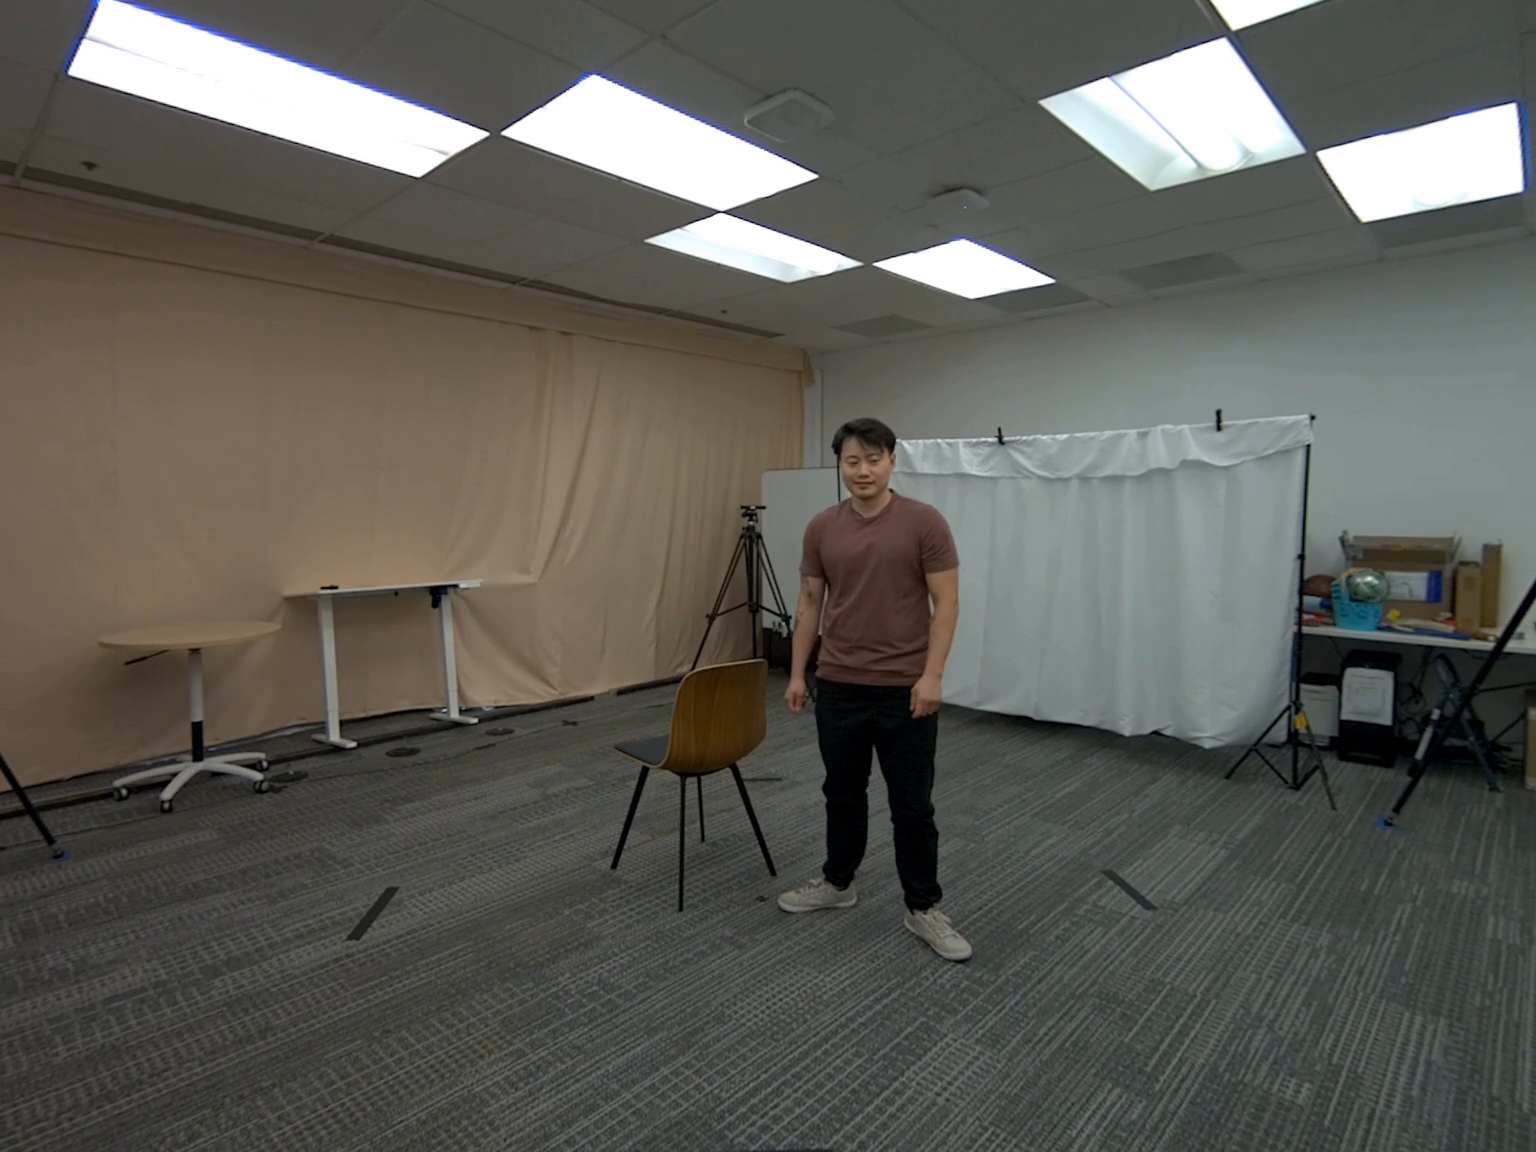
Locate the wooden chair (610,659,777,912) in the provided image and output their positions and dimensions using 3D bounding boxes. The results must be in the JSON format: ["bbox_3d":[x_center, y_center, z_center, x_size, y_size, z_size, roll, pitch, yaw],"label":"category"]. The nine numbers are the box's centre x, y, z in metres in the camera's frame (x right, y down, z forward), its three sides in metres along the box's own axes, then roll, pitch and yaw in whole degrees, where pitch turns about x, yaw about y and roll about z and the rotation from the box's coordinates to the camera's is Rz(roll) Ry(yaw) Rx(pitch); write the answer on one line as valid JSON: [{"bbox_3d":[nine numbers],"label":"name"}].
[{"bbox_3d":[-0.292,0.701,3.179,0.463,0.874,0.541,-3,9,-40],"label":"wooden chair"}]
